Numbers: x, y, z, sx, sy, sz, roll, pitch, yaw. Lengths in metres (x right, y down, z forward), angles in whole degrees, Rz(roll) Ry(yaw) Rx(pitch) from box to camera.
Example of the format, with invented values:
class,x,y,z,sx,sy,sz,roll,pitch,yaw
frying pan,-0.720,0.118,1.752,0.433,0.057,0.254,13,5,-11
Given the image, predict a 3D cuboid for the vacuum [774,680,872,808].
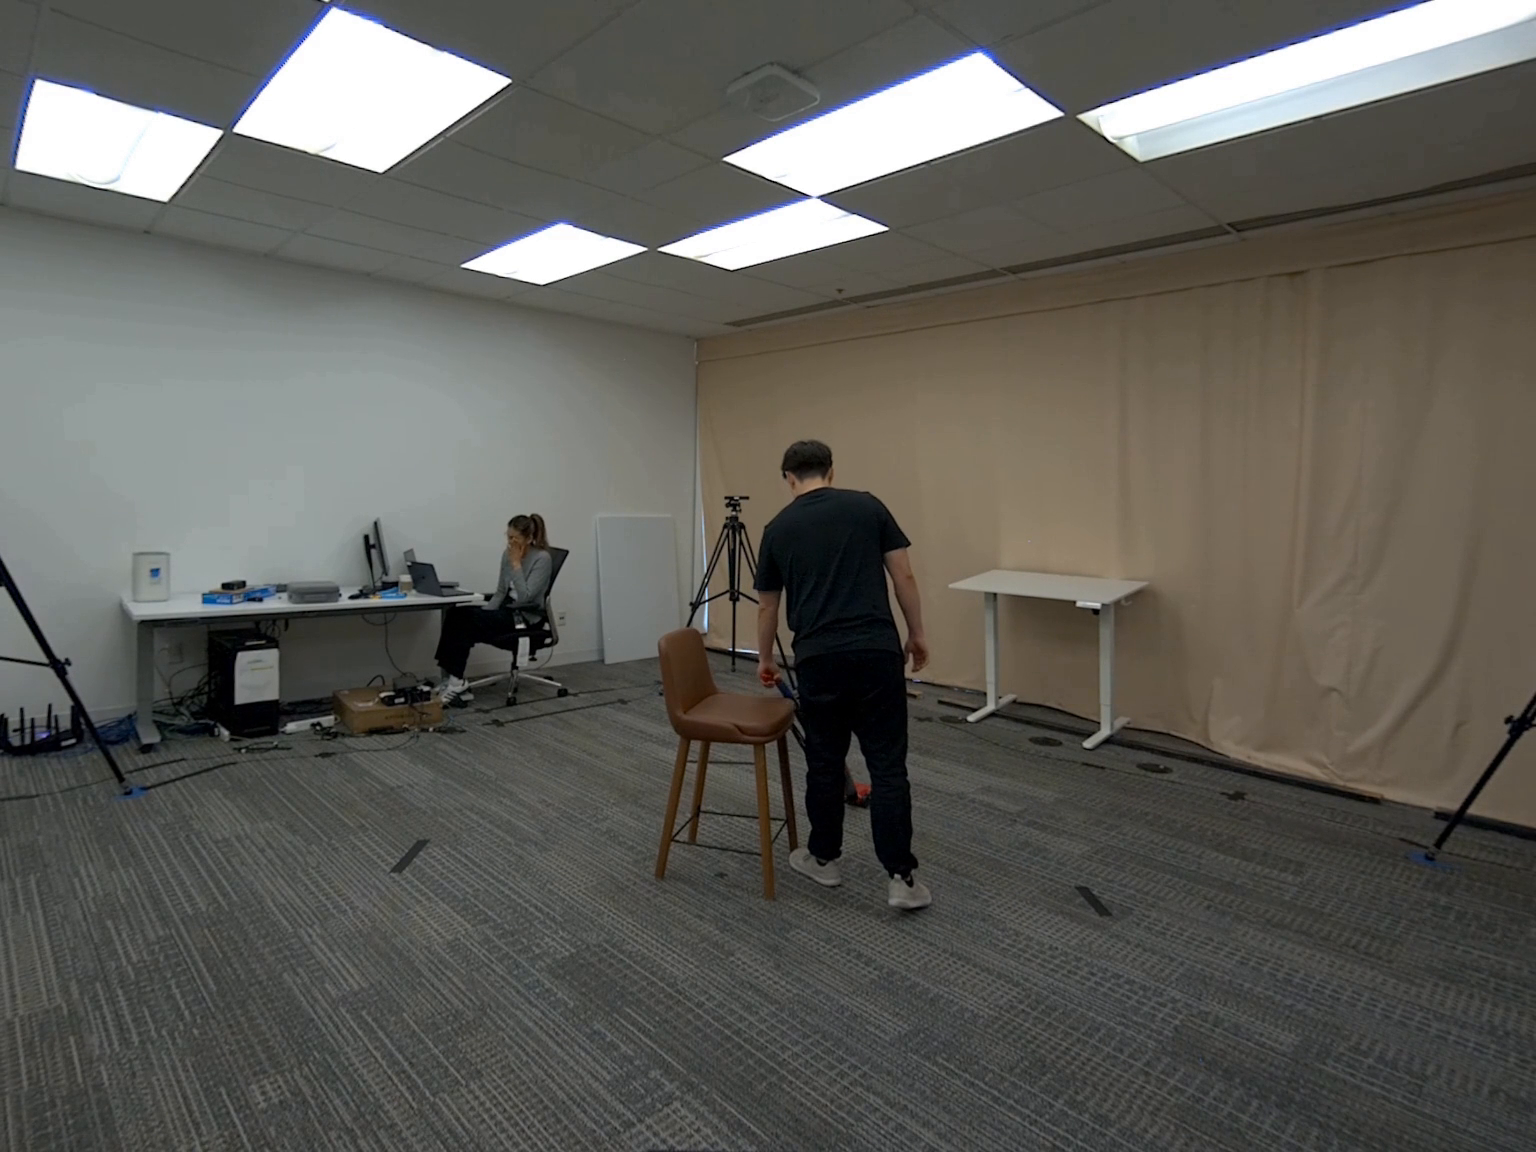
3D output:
class,x,y,z,sx,sy,sz,roll,pitch,yaw
vacuum,0.200,0.718,3.590,0.258,0.145,1.016,2,-36,35
